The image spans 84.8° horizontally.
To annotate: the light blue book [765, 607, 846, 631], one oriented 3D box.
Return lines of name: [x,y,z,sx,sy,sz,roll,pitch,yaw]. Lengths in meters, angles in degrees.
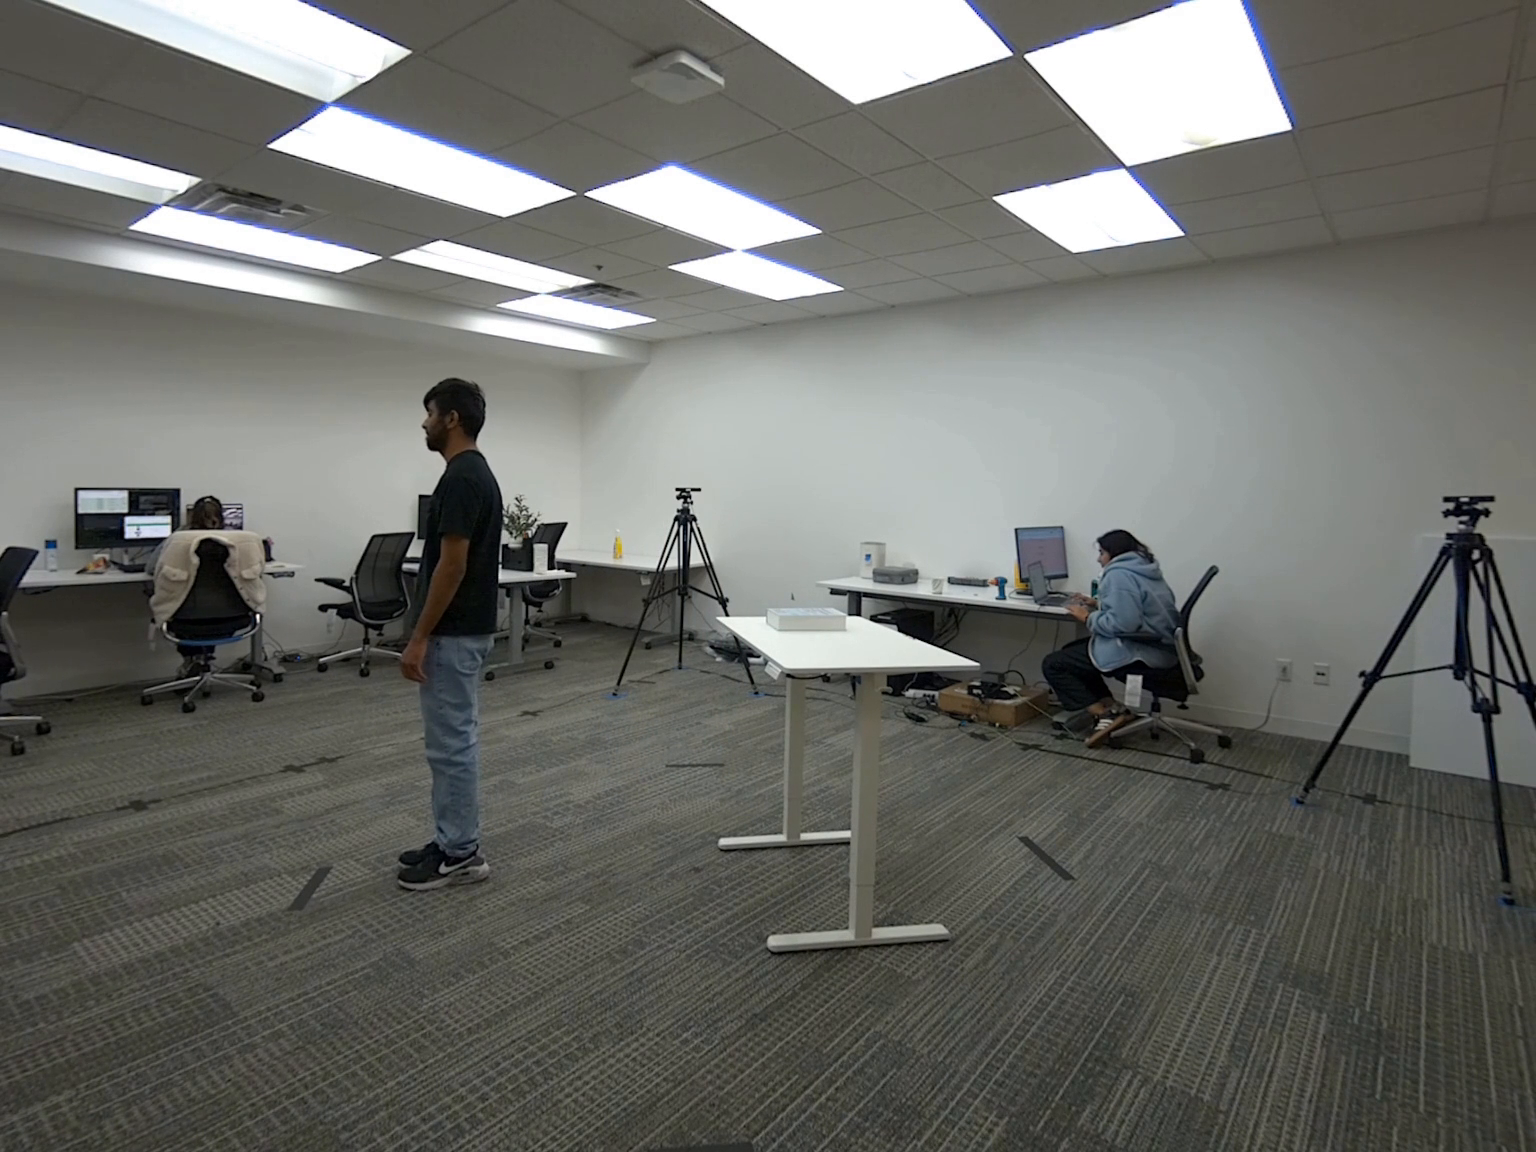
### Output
light blue book: [0.134,0.165,3.174,0.258,0.059,0.194,0,6,-11]
